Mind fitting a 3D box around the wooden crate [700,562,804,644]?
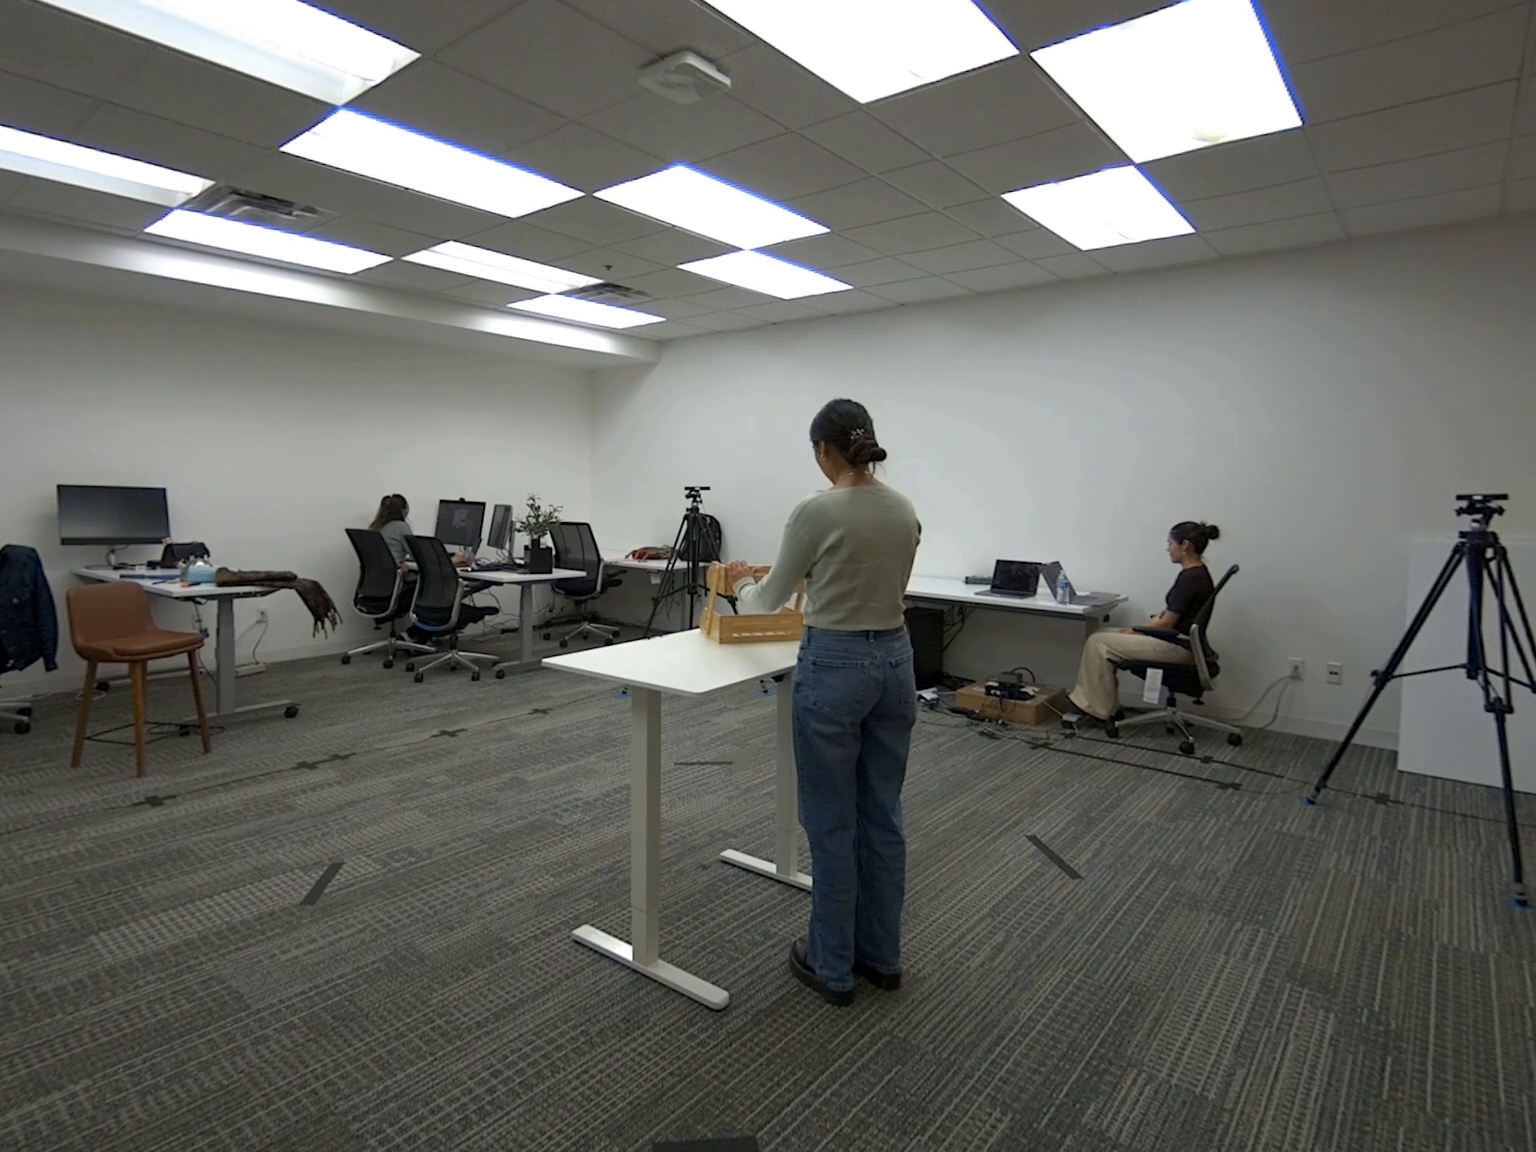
[{"bbox_3d":[-0.061,0.073,2.887,0.319,0.272,0.309,-2,6,-18],"label":"wooden crate"}]
